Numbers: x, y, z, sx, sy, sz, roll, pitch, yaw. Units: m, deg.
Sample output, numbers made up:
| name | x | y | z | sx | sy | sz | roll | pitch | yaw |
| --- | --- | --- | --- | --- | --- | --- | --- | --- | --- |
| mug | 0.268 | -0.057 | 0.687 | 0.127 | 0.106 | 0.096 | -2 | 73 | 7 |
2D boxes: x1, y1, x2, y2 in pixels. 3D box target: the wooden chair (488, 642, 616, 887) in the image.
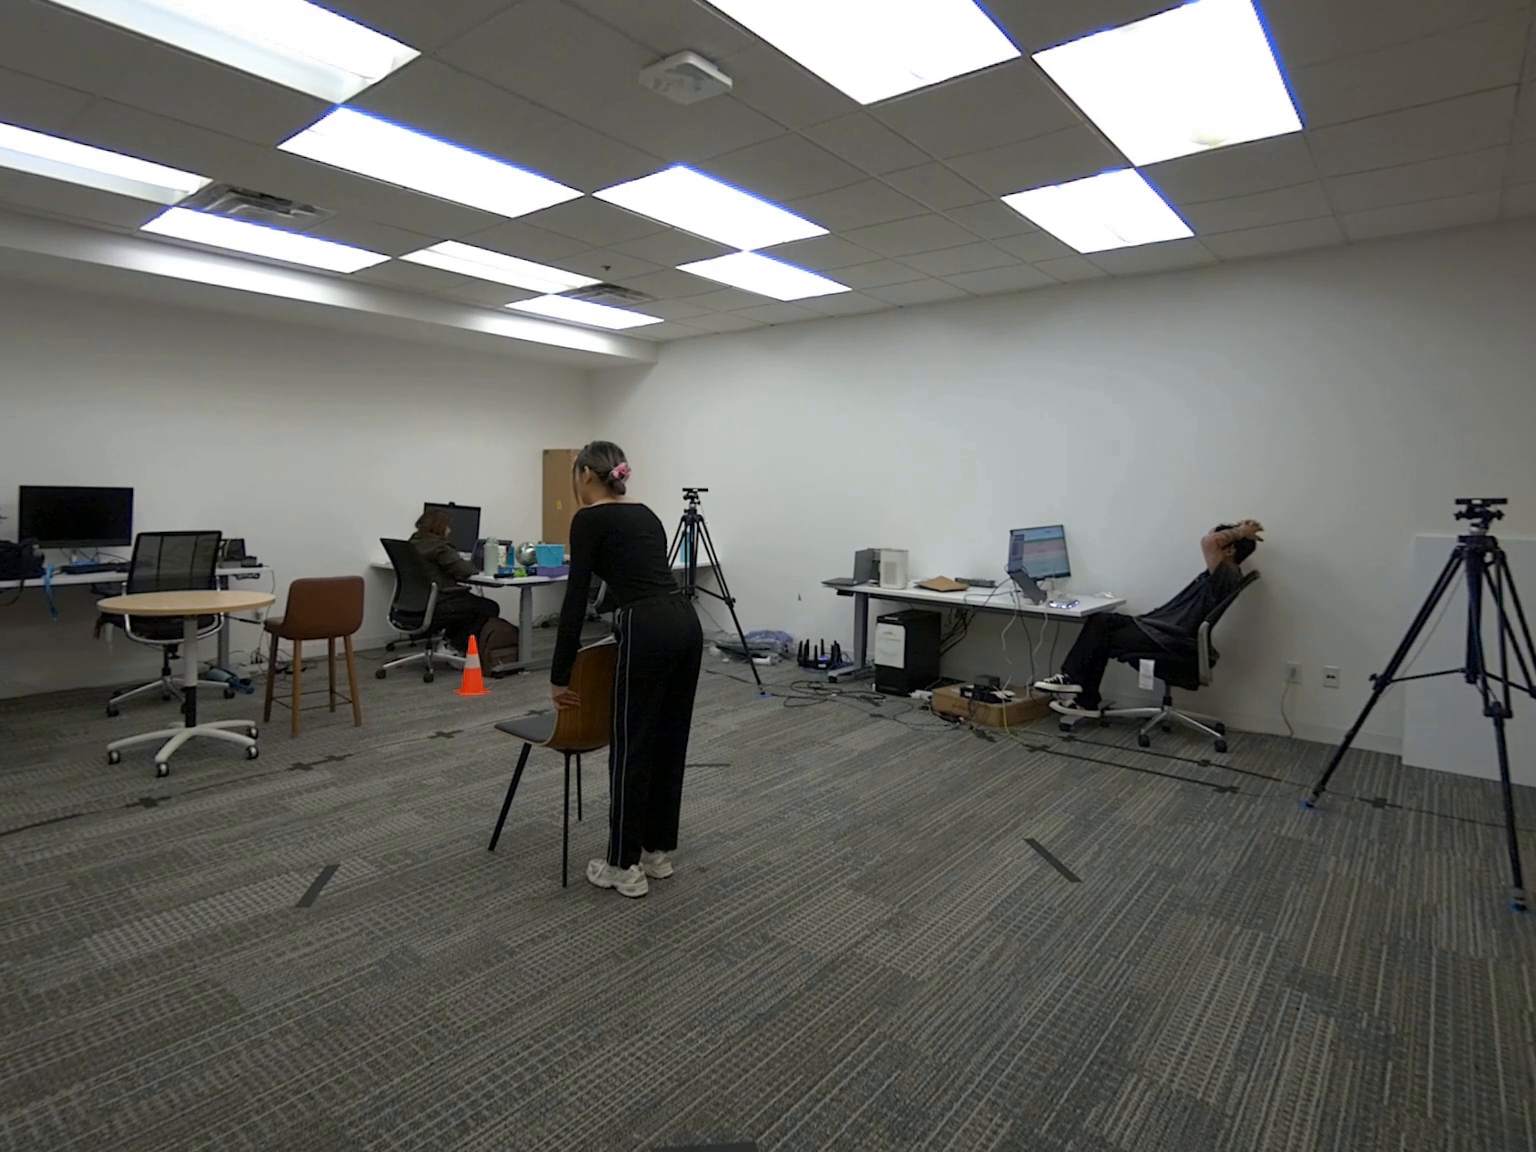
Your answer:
| name | x | y | z | sx | sy | sz | roll | pitch | yaw |
| --- | --- | --- | --- | --- | --- | --- | --- | --- | --- |
| wooden chair | -0.757 | 0.619 | 3.233 | 0.542 | 0.872 | 0.464 | 10 | 8 | 39 |
